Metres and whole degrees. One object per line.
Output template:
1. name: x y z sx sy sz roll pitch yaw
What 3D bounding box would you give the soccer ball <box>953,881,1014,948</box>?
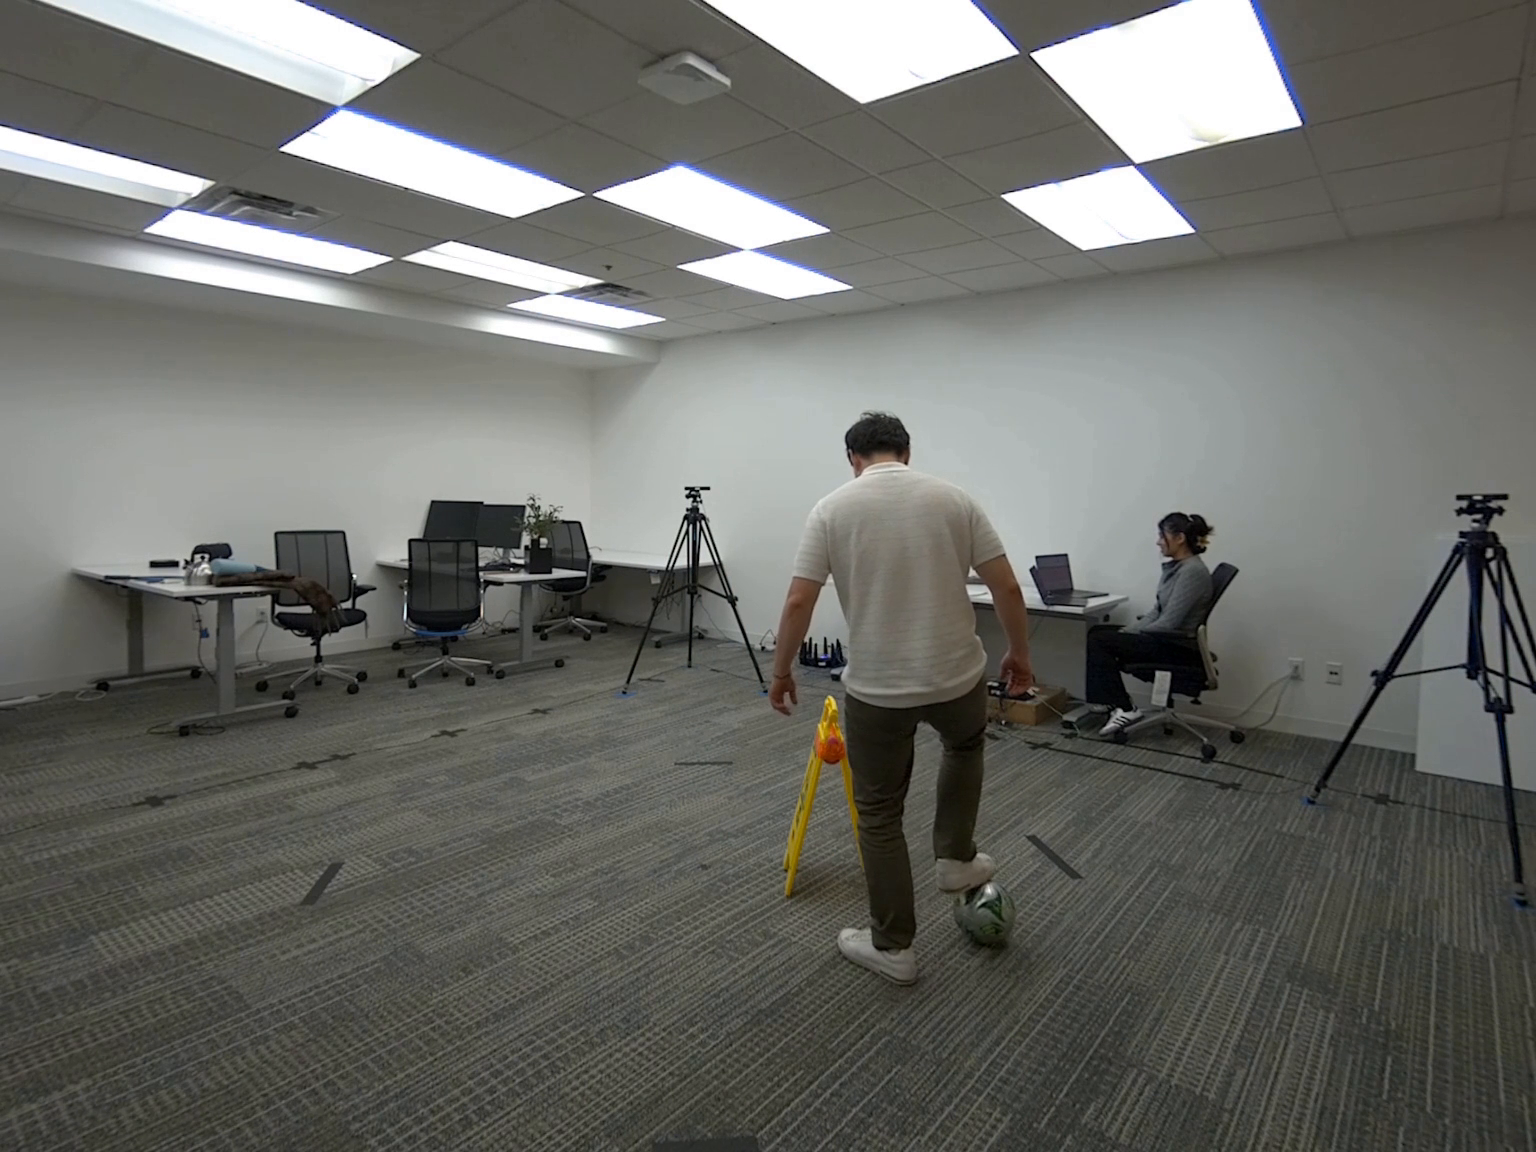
1. soccer ball: 0.664 1.038 2.644 0.187 0.187 0.188 0 4 -2
